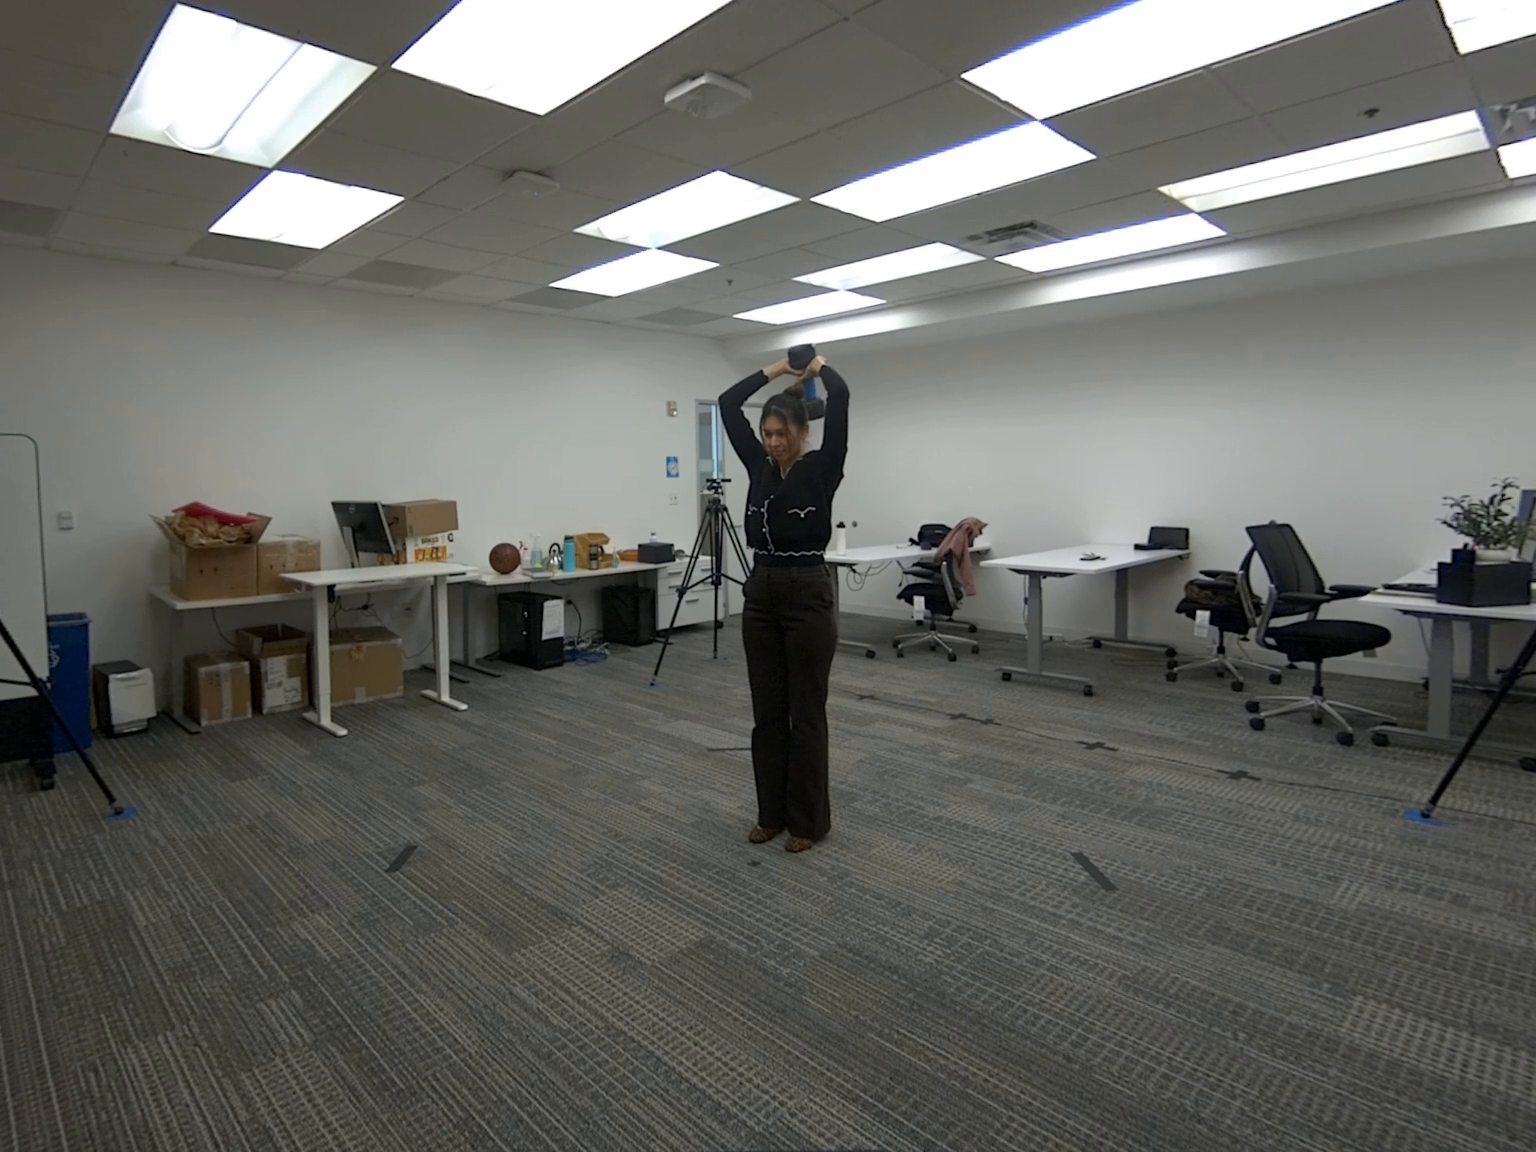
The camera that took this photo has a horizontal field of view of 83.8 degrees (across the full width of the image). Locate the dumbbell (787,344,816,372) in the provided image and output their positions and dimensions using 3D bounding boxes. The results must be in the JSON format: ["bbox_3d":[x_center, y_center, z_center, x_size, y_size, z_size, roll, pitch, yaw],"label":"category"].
[{"bbox_3d":[0.157,-0.766,3.385,0.110,0.288,0.124,-9,19,12],"label":"dumbbell"}]
